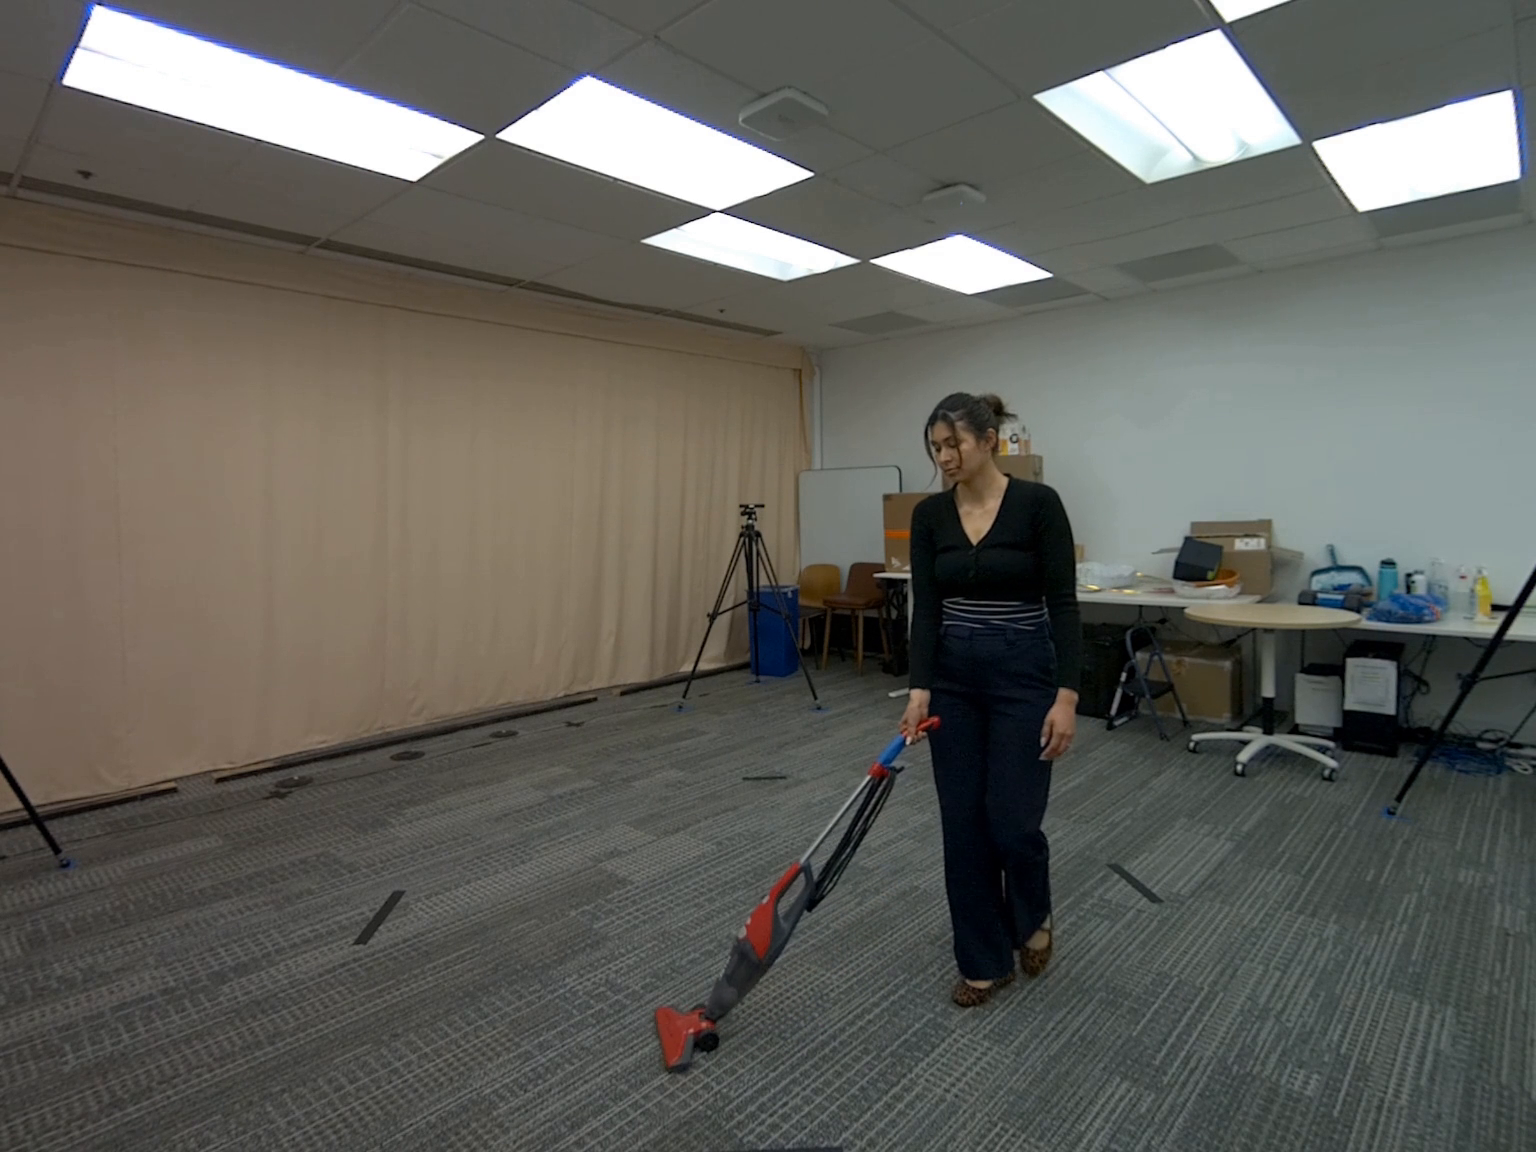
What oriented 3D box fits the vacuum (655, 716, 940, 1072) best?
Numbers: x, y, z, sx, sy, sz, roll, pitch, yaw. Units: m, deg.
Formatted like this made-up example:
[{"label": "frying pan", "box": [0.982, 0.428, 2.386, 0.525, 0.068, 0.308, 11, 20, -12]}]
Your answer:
[{"label": "vacuum", "box": [0.120, 0.808, 2.256, 0.141, 1.047, 0.258, 41, -8, -17]}]
